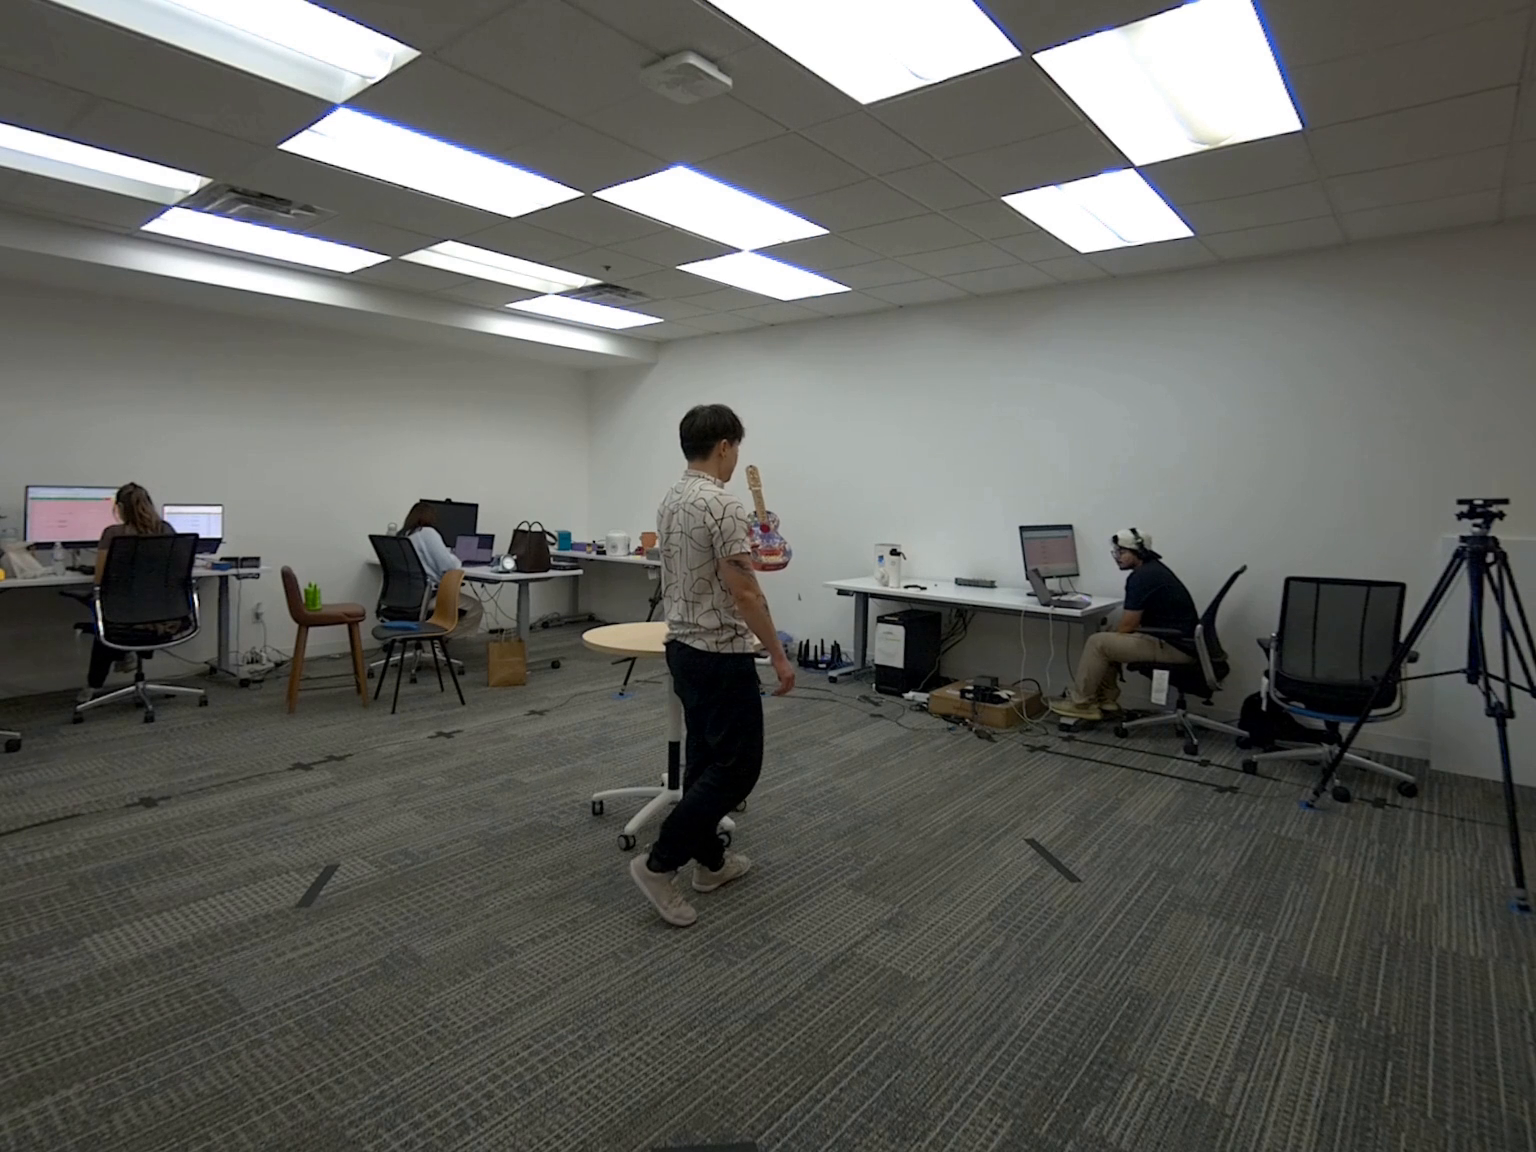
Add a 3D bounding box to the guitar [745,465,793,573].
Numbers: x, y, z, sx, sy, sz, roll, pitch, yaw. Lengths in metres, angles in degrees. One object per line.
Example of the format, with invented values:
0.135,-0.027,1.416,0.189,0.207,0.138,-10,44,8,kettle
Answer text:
-0.016,-0.255,3.652,0.191,0.510,0.069,5,-31,-8,guitar
